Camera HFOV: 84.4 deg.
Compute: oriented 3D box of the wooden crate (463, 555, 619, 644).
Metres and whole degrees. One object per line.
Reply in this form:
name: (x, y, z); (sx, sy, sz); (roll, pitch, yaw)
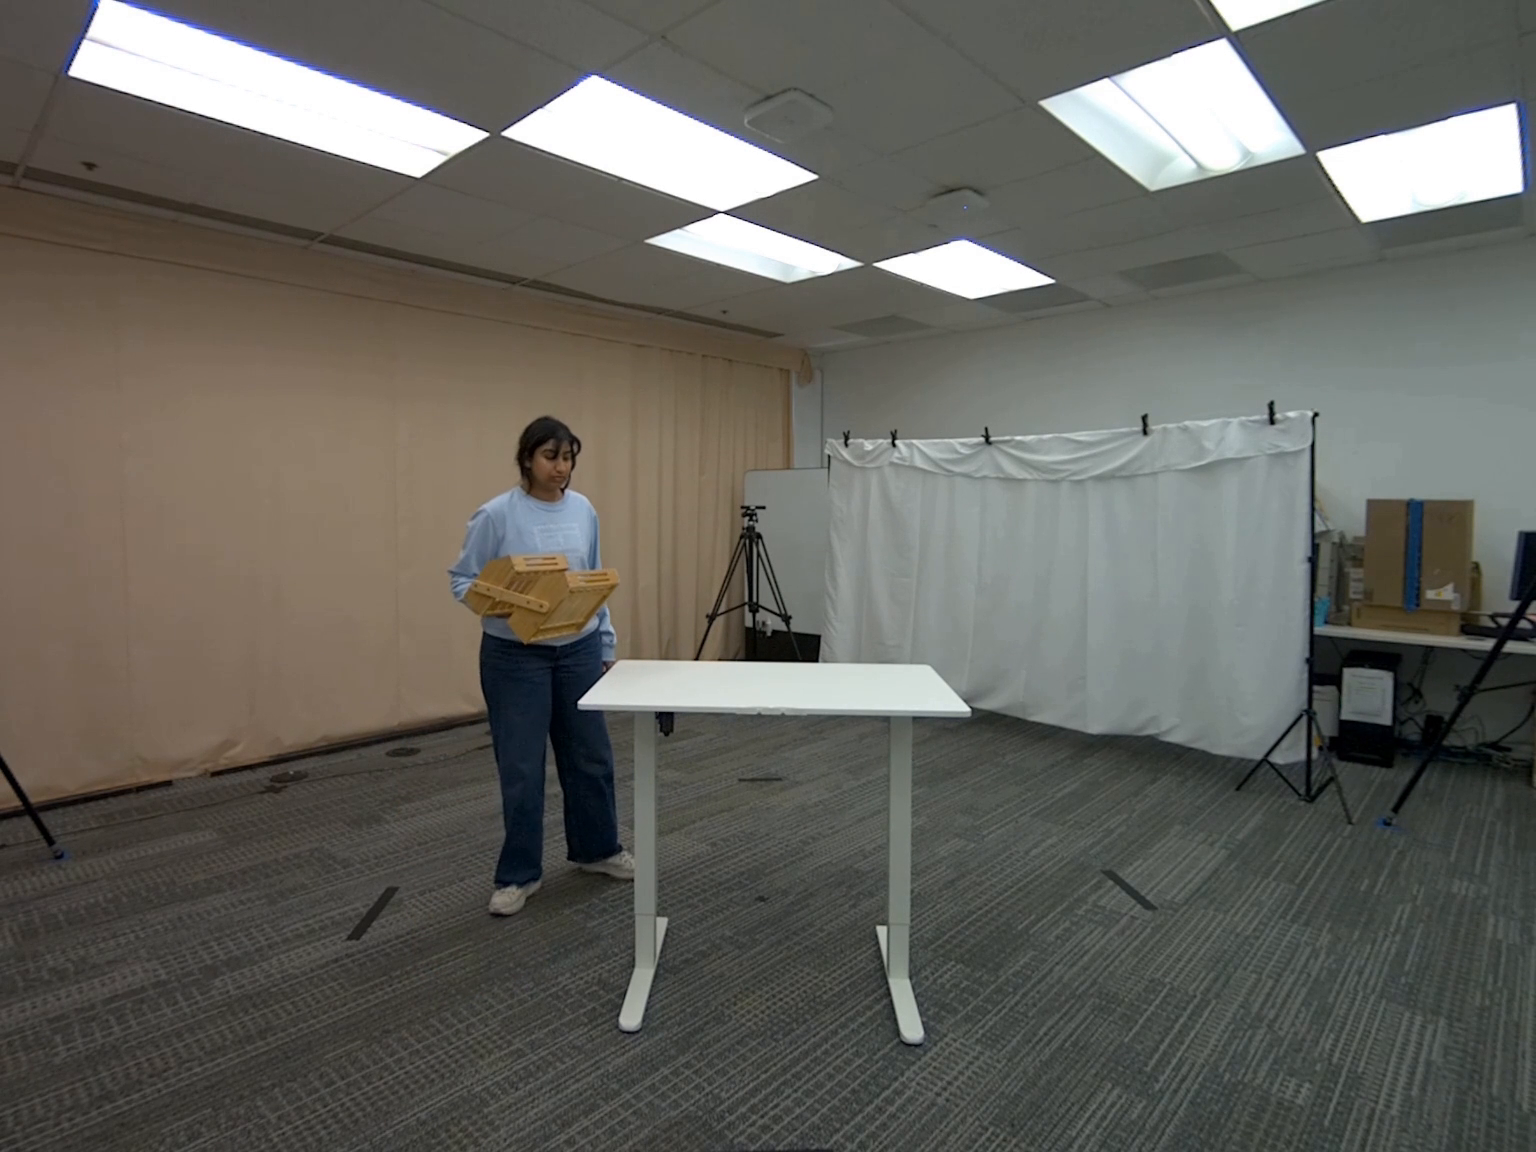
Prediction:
wooden crate: (-0.696, 0.033, 2.625); (0.278, 0.303, 0.317); (44, 15, 14)
